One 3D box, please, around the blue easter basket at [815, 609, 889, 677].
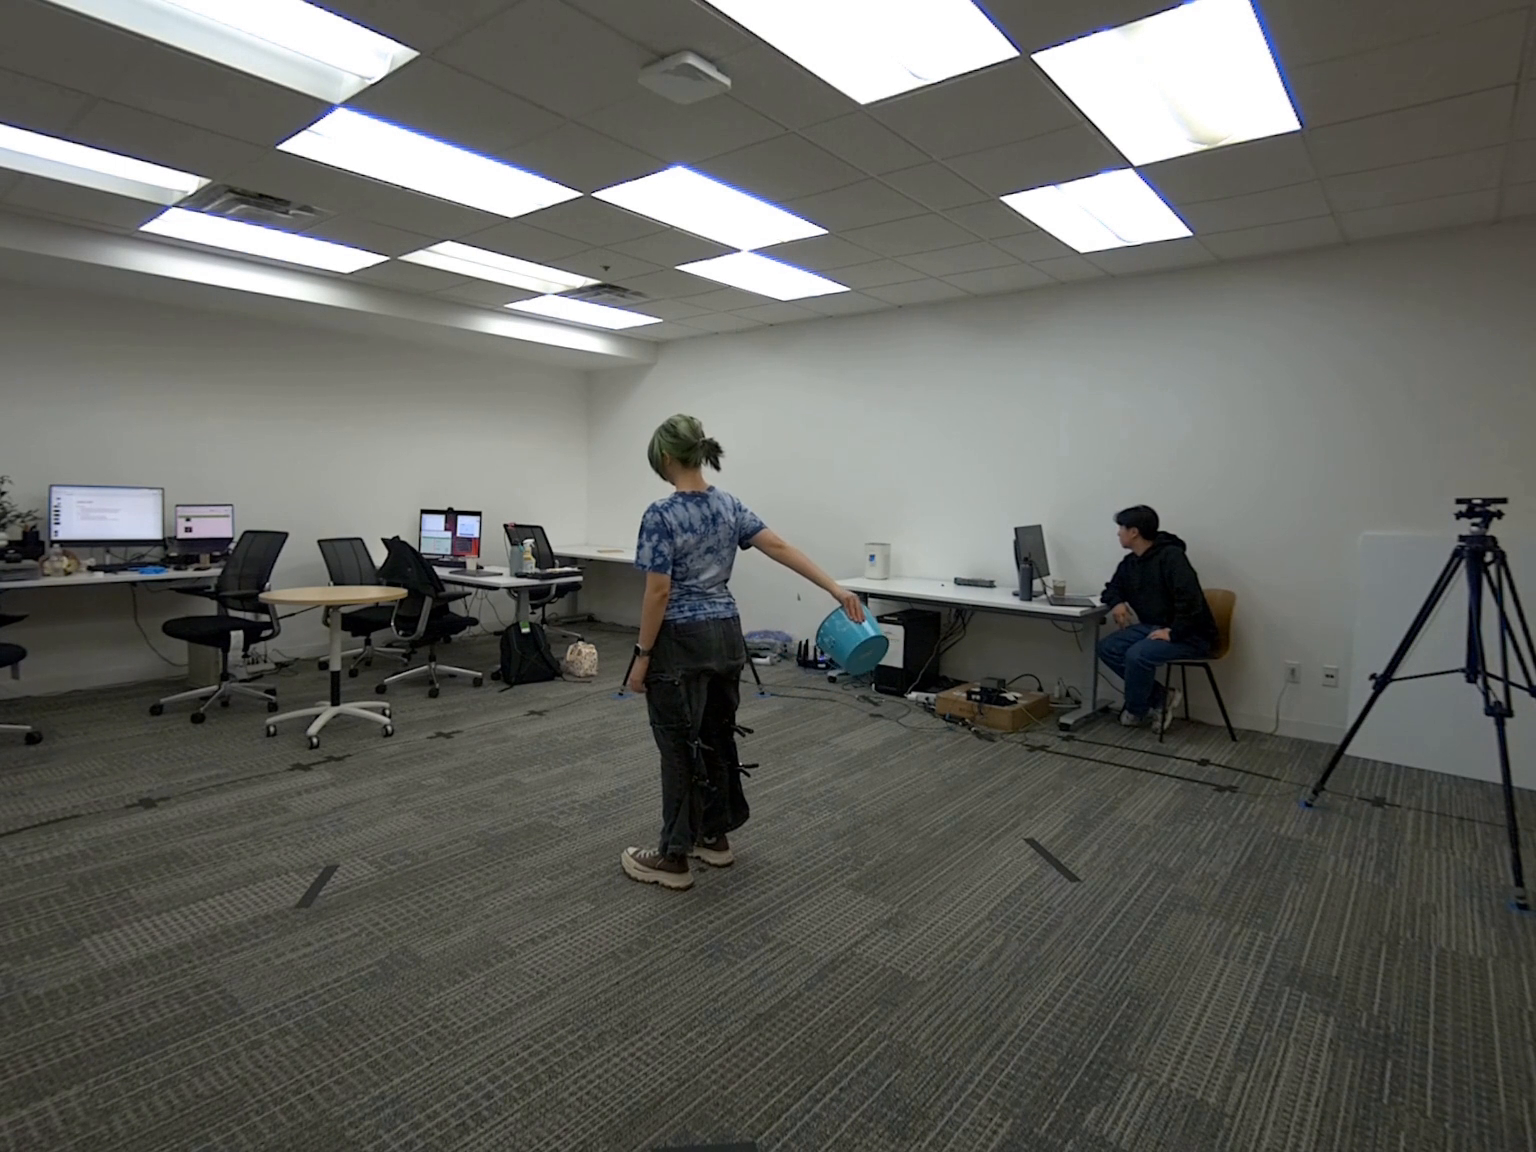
[{"bbox_3d":[0.291,0.236,2.976,0.236,0.240,0.162,-2,37,-36],"label":"blue easter basket"}]
